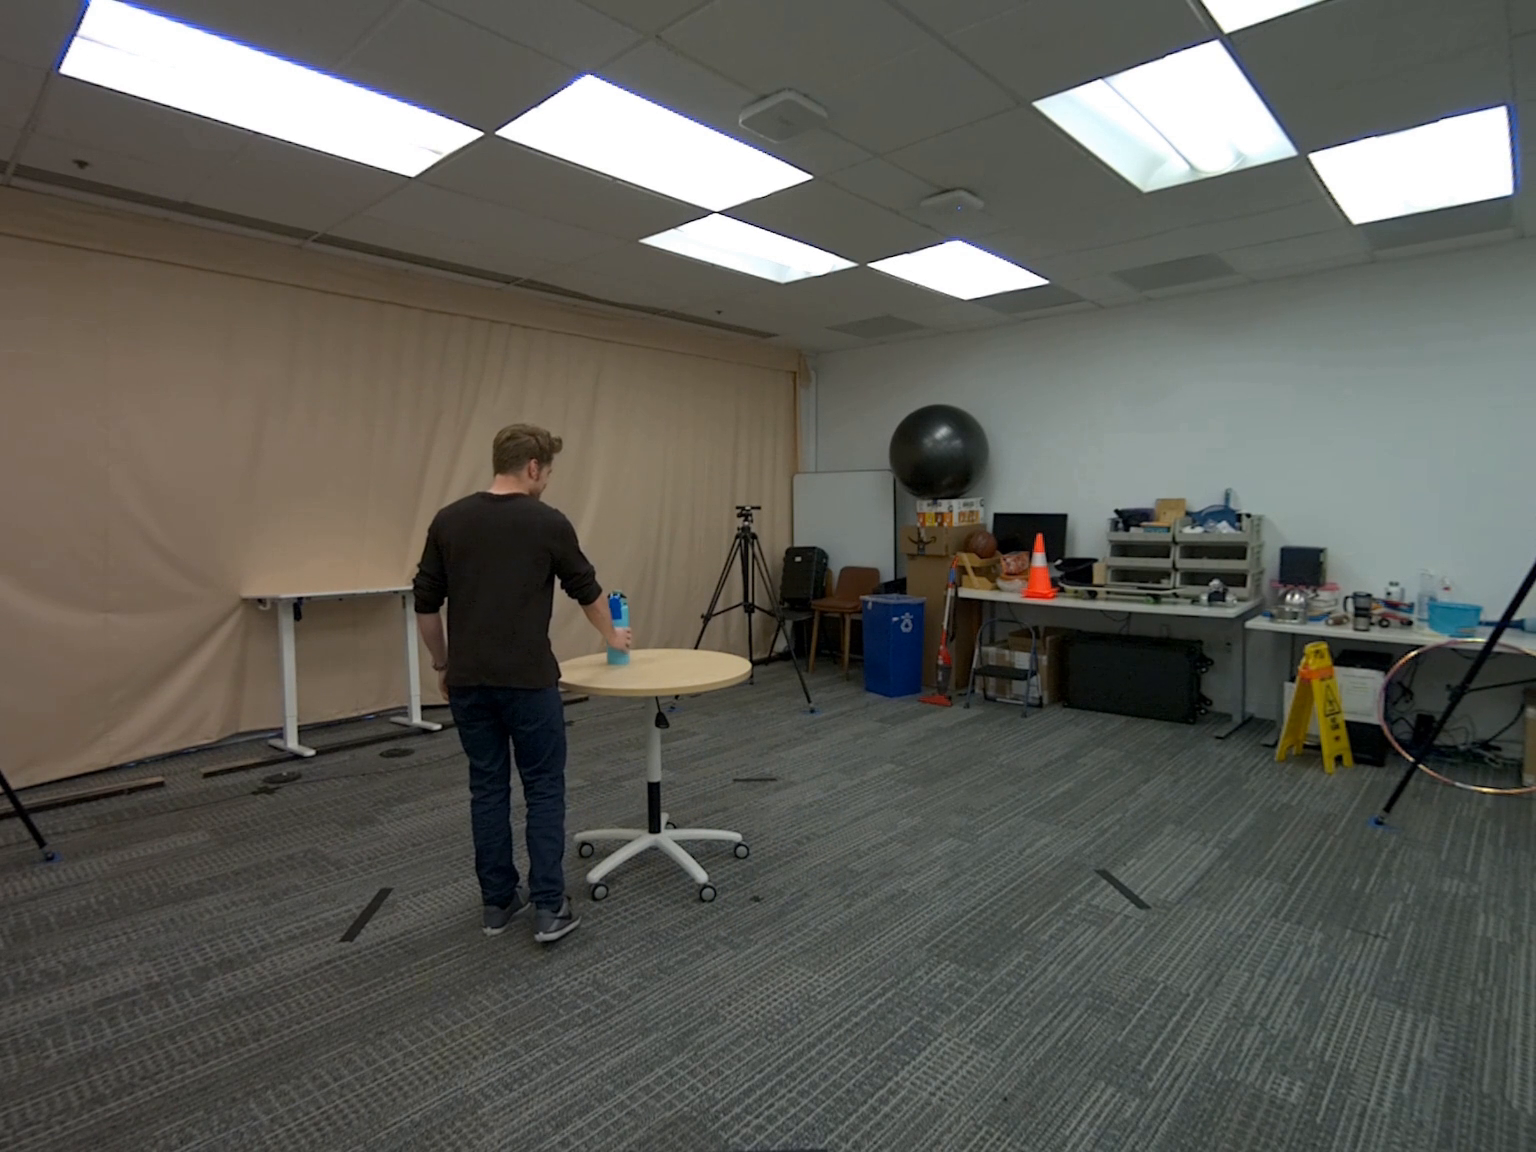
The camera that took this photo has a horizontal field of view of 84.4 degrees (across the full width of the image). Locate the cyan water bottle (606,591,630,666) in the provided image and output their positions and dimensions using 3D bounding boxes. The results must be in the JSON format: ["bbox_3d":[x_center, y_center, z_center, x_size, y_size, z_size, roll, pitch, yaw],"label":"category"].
[{"bbox_3d":[-0.585,0.199,3.309,0.092,0.283,0.093,0,4,-2],"label":"cyan water bottle"}]
